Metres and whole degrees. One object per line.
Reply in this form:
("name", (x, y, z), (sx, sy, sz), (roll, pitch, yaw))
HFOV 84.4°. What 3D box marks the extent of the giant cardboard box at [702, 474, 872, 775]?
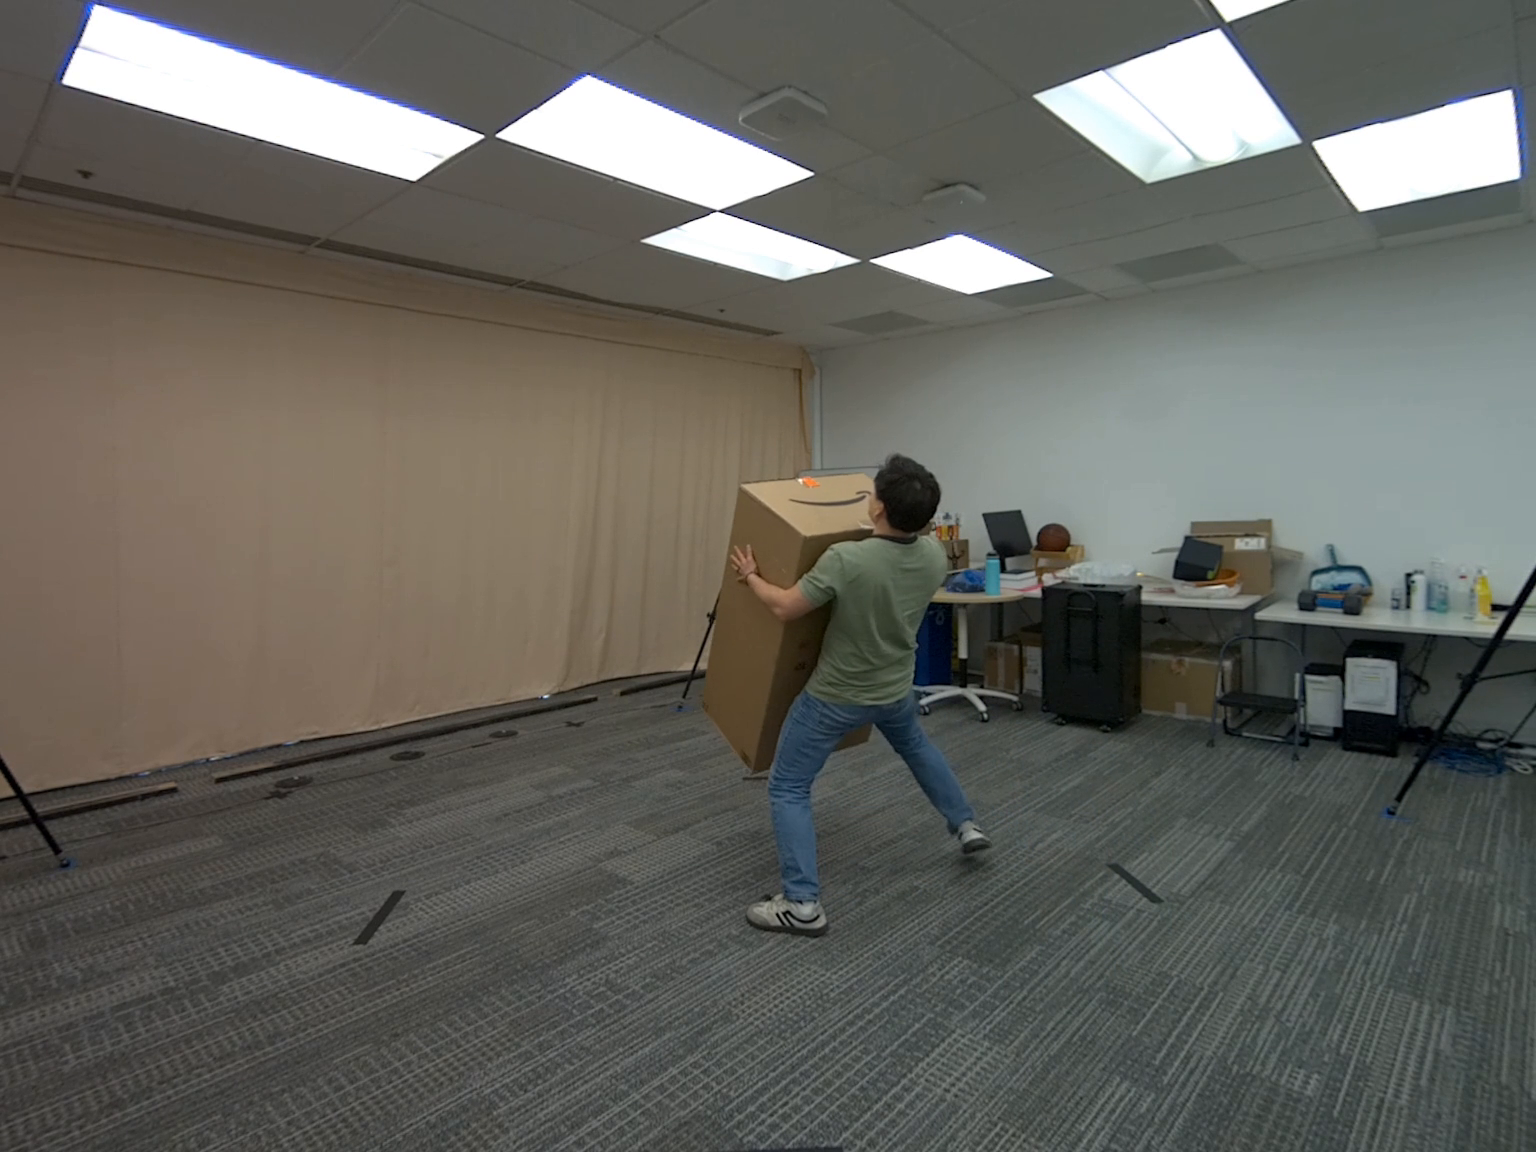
("giant cardboard box", (0.164, 0.186, 3.246), (0.563, 1.015, 0.442), (-7, 32, -31))
